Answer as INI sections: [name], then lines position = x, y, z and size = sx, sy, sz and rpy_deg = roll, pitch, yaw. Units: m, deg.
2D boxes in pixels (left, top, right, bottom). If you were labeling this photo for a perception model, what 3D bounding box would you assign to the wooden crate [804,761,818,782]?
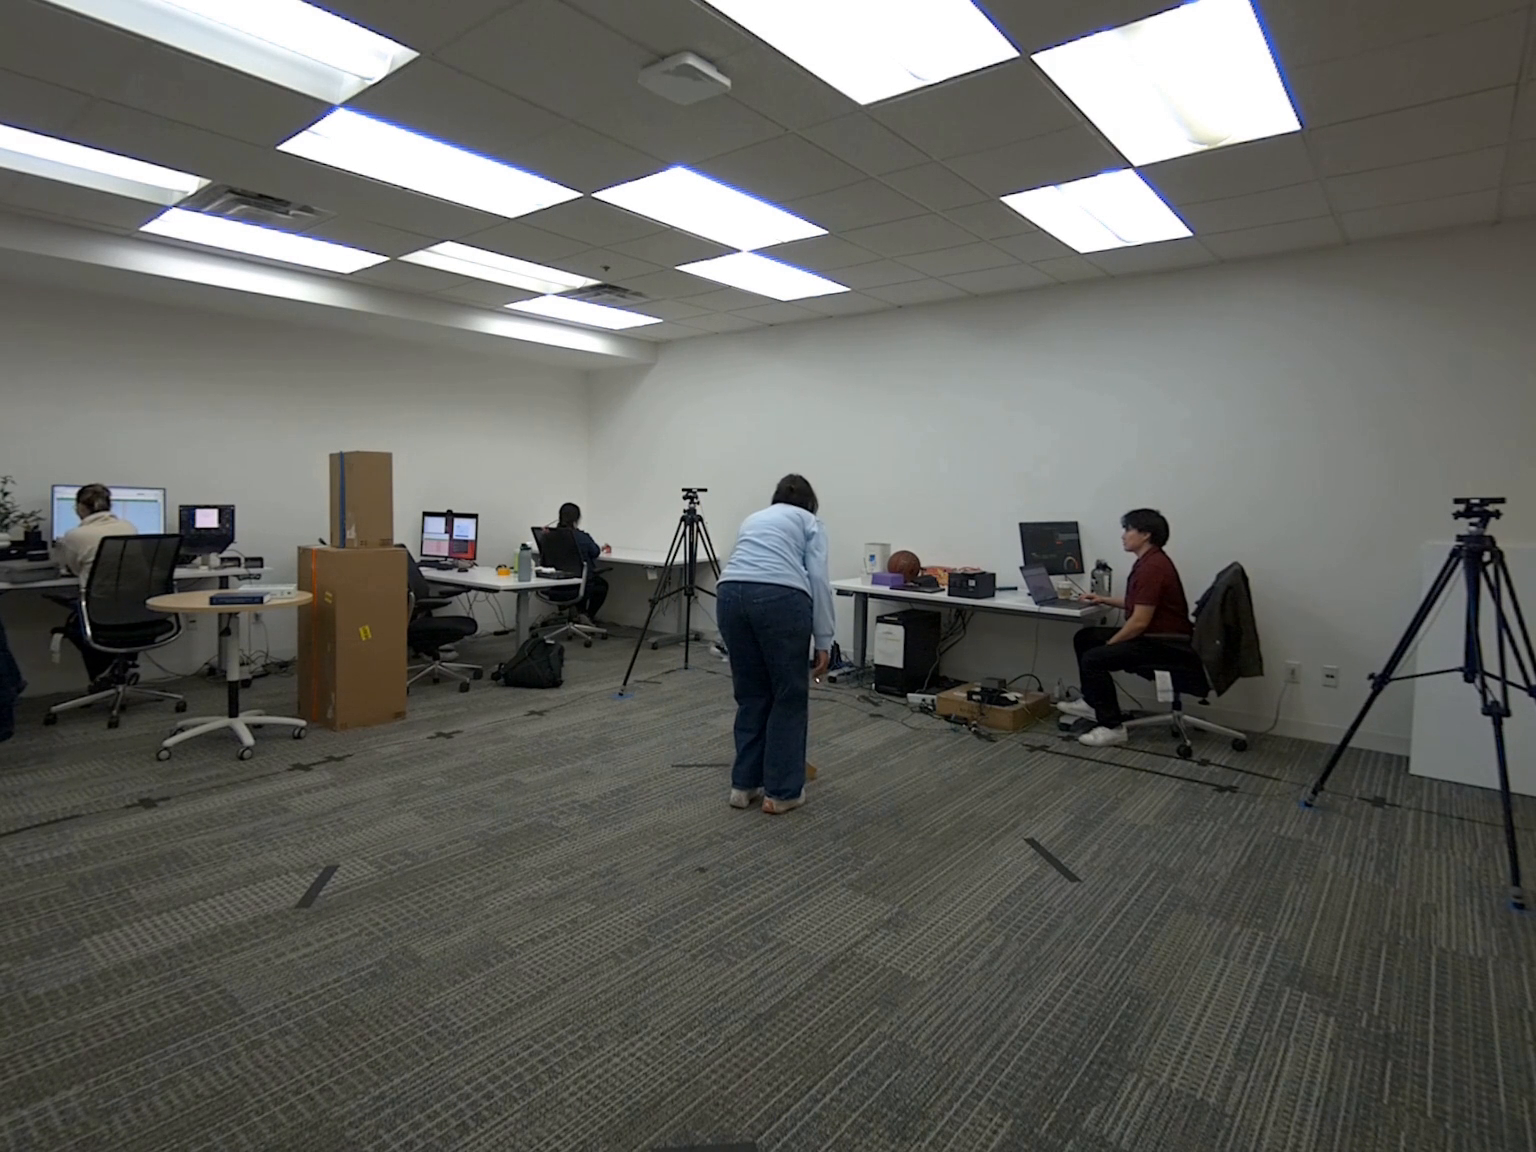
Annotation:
[wooden crate]
position = 0.053, 0.825, 4.235
size = 0.298, 0.272, 0.330
rpy_deg = -2, 5, -15
